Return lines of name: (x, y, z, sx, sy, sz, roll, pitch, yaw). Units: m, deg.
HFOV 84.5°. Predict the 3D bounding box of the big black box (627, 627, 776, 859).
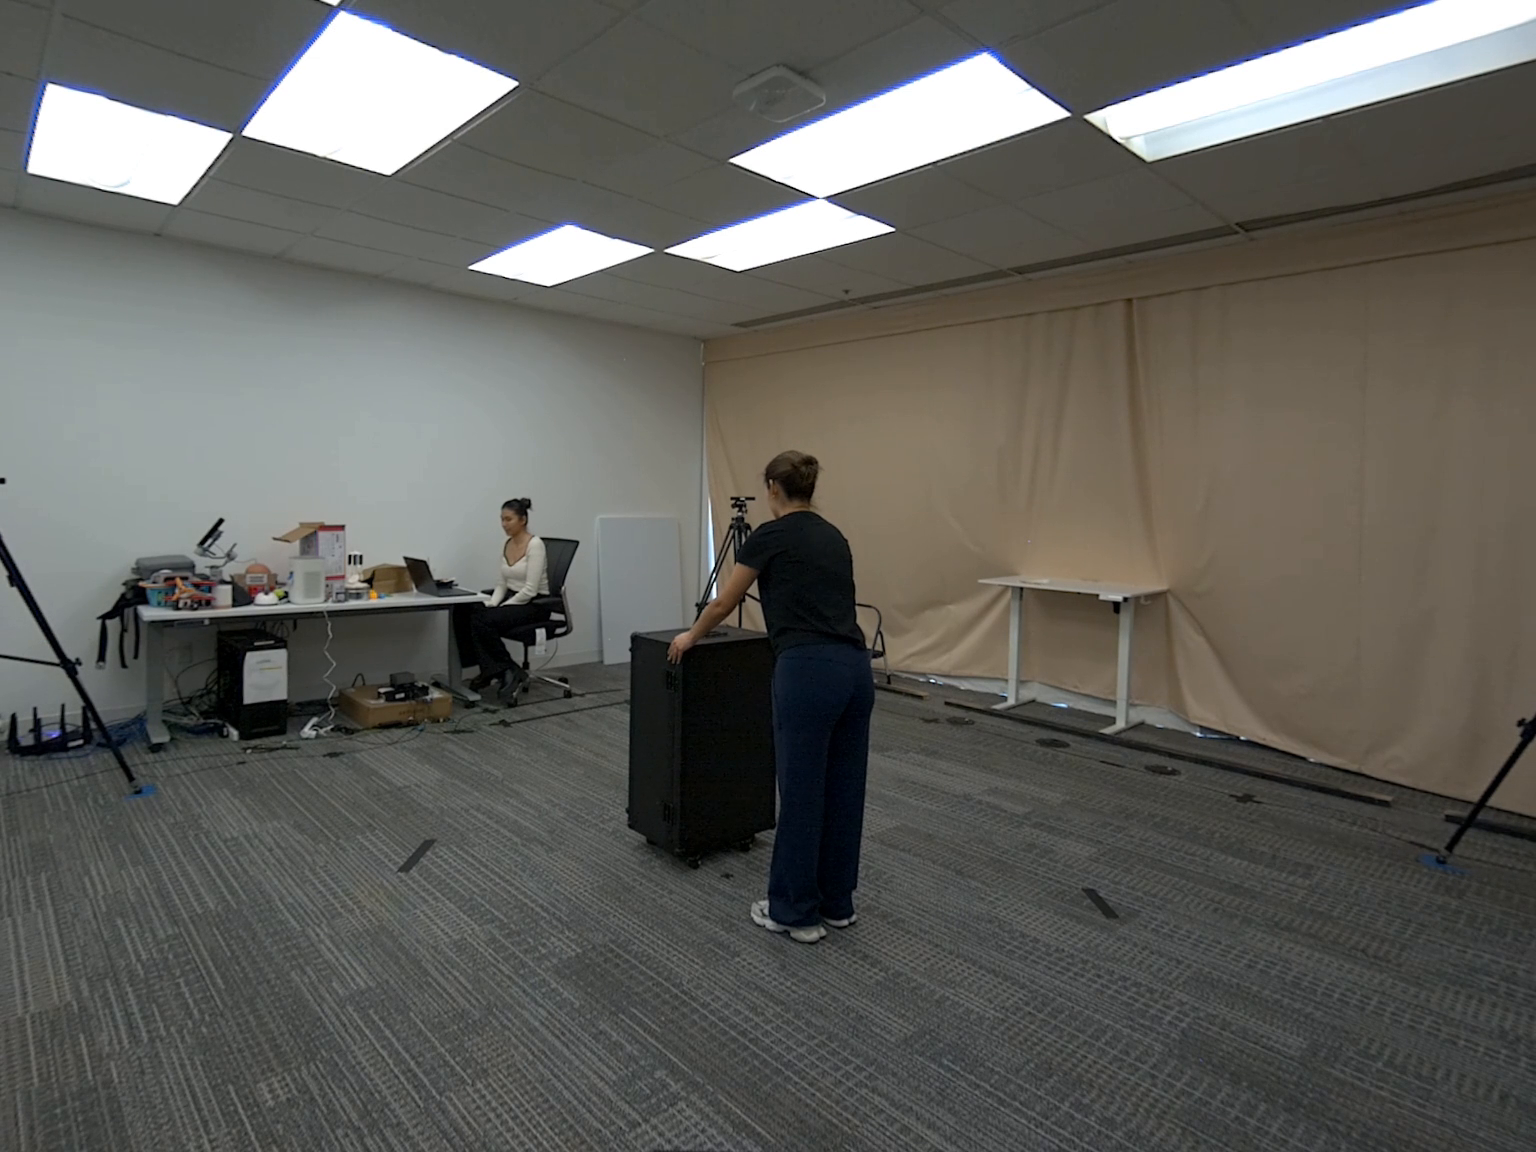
big black box: (-0.271, 0.655, 3.346, 0.509, 0.860, 0.406, -2, 3, -41)
